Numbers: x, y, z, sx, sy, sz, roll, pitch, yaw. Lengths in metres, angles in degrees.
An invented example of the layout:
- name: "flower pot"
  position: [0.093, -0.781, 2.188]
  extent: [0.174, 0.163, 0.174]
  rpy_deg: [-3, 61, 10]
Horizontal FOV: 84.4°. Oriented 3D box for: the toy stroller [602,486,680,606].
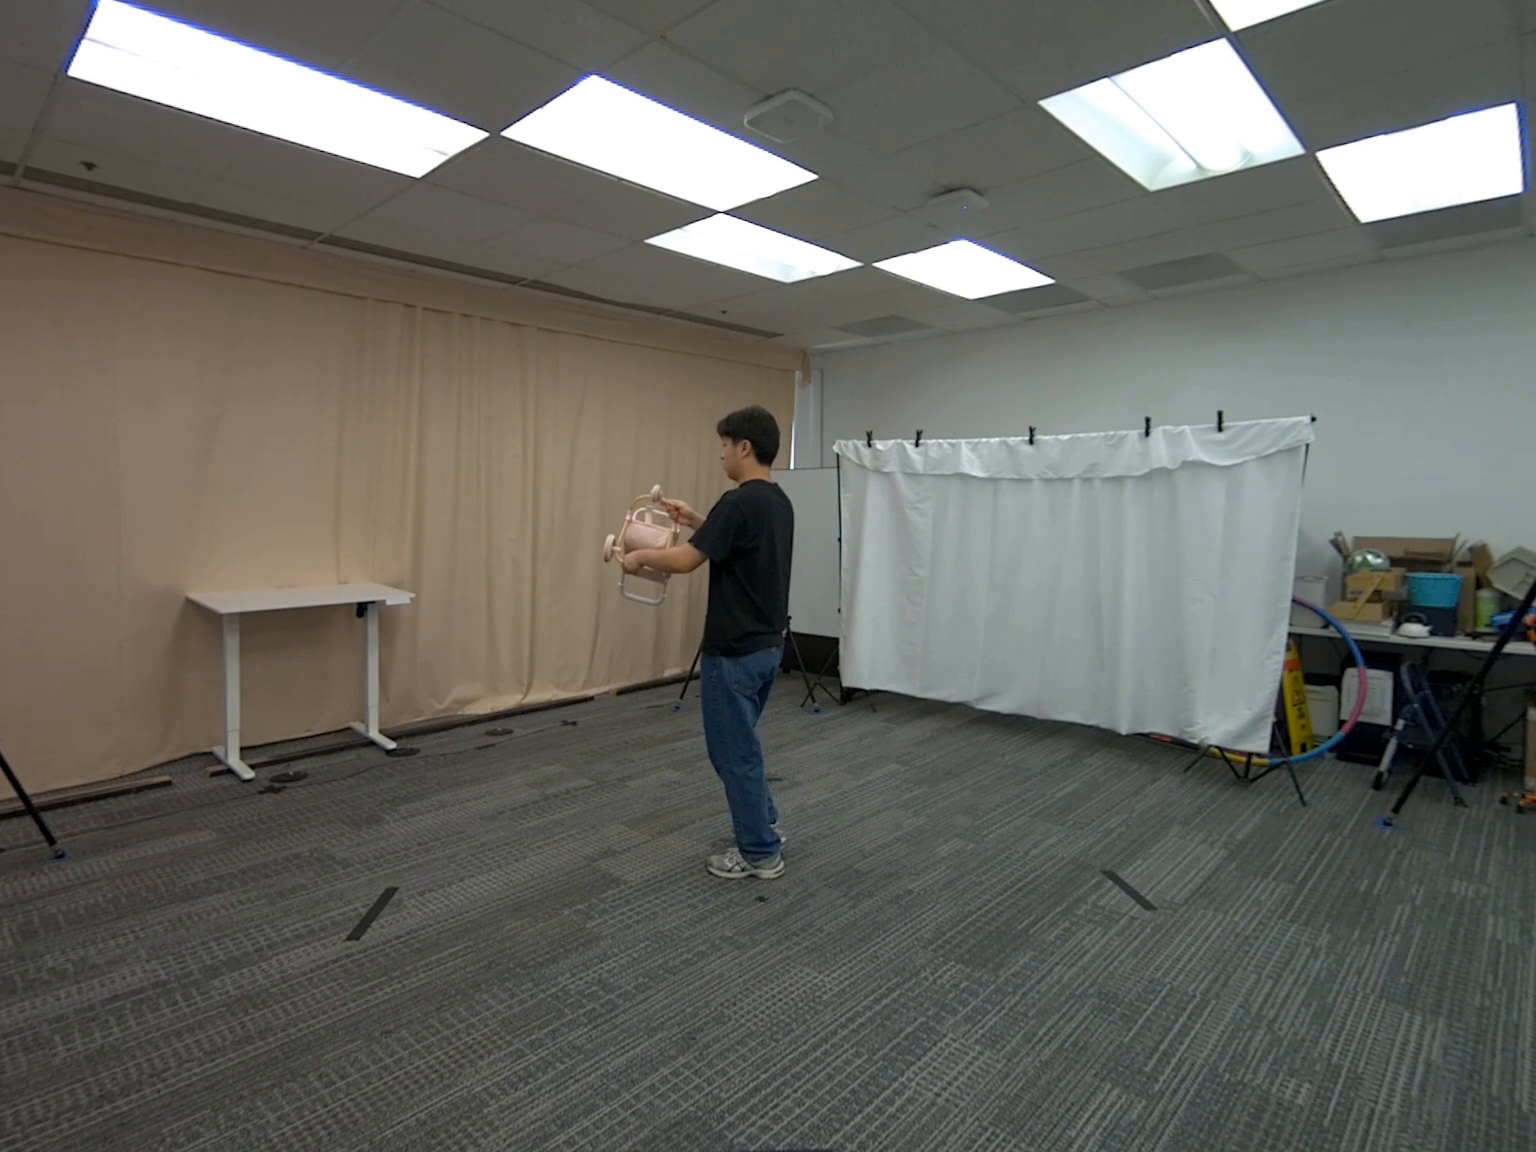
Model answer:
- name: "toy stroller"
  position: [-0.502, -0.121, 3.454]
  extent: [0.282, 0.344, 0.529]
  rpy_deg: [10, -21, 1]
